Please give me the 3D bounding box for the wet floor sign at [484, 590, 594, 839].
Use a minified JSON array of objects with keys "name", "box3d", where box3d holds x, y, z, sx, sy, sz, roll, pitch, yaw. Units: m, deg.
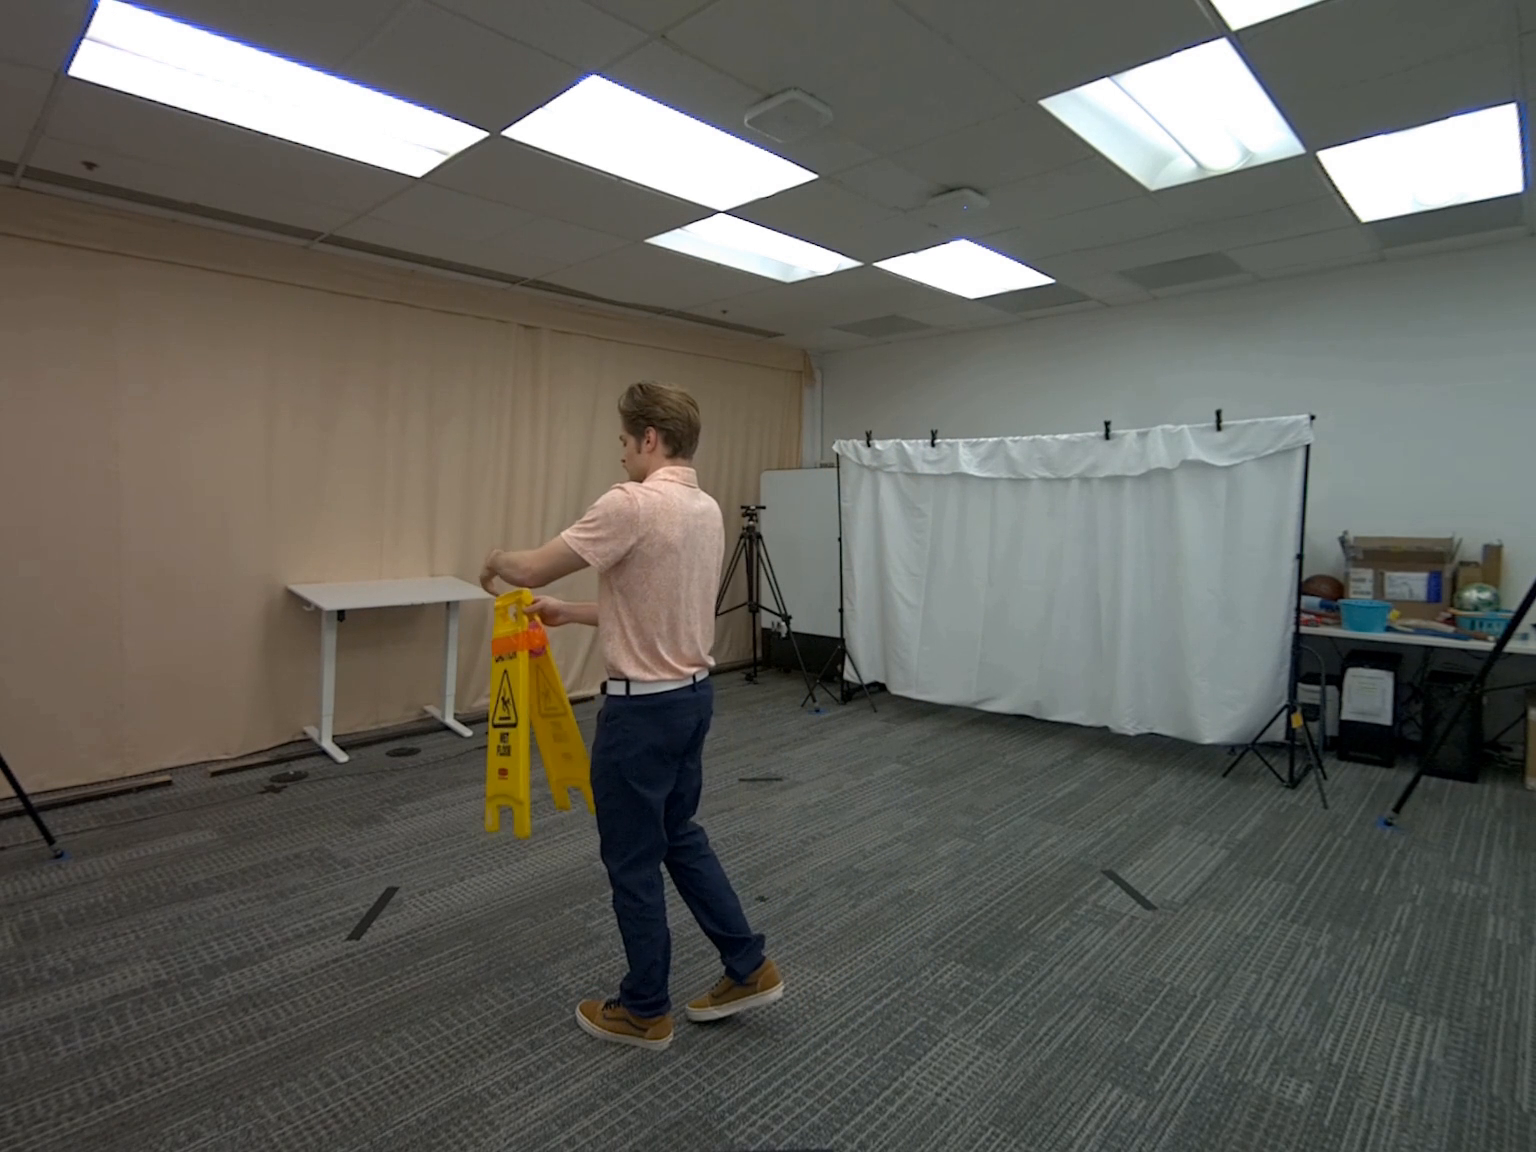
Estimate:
[{"name":"wet floor sign","box3d":[-0.678,0.363,2.371,0.281,0.649,0.289,-5,-8,-41]}]
